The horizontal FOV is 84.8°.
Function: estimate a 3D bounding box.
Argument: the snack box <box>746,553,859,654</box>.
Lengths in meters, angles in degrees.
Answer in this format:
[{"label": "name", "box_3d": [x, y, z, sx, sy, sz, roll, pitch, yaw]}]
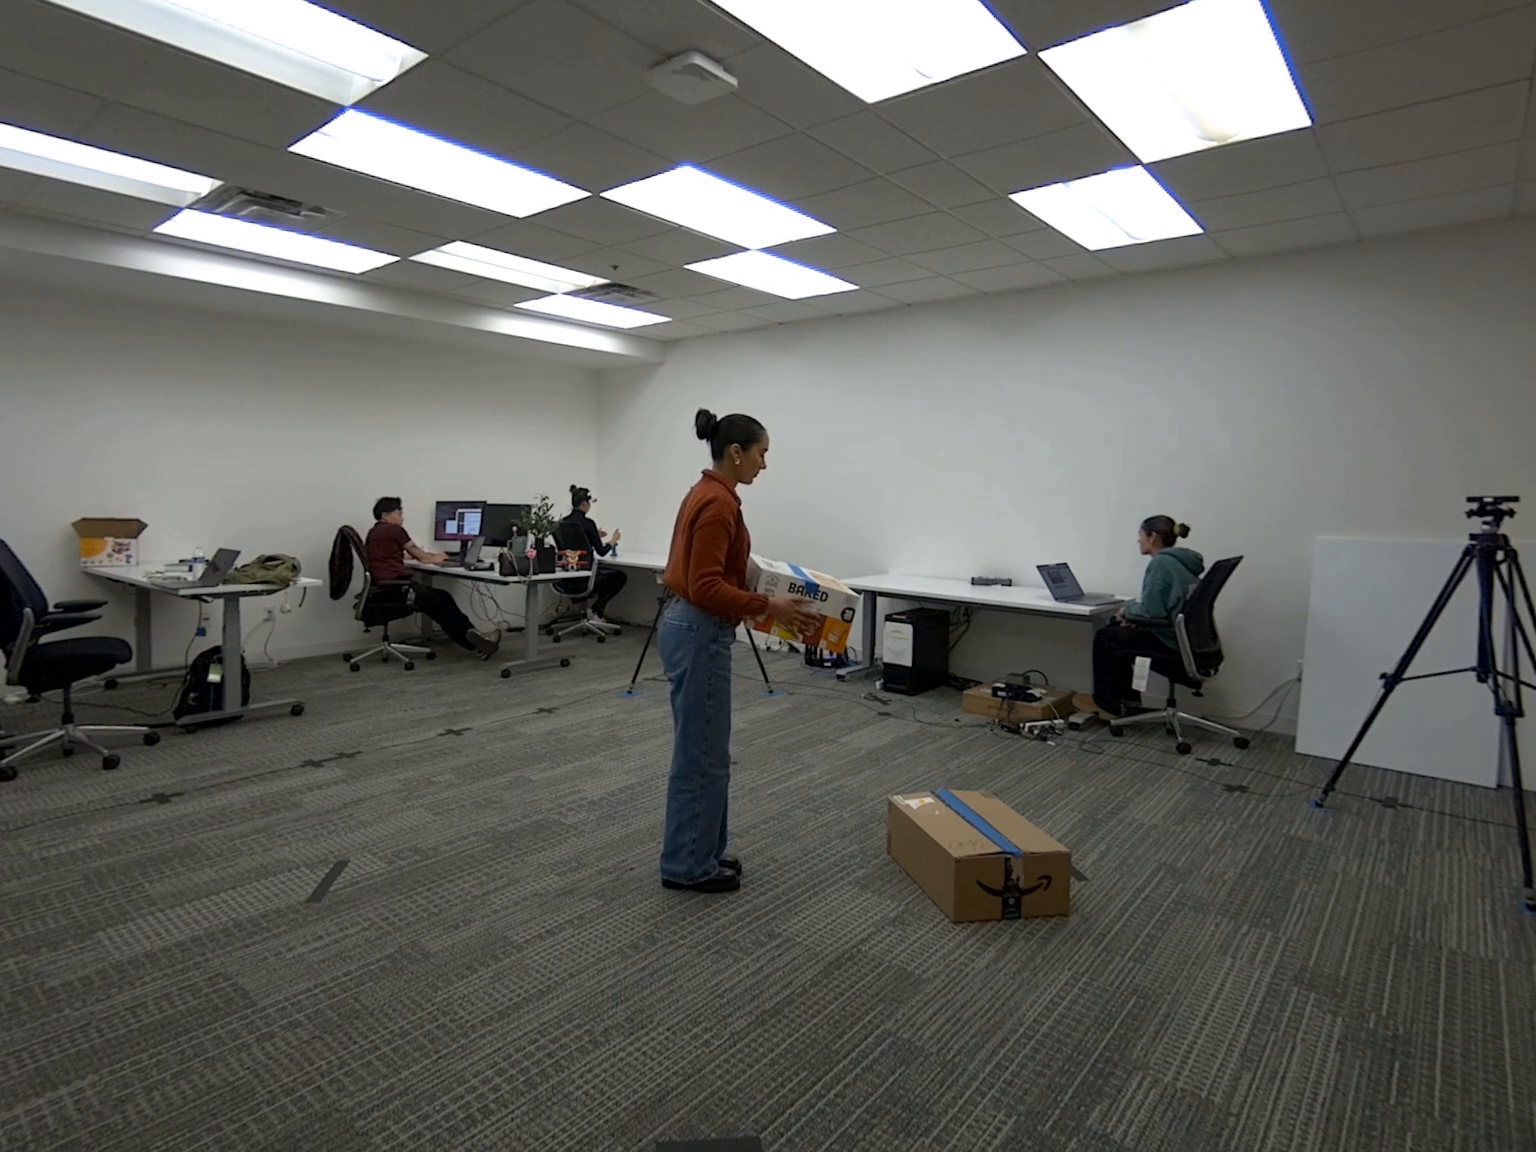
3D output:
[{"label": "snack box", "box_3d": [0.077, 0.084, 2.959, 0.336, 0.205, 0.412, 15, 6, -11]}]
